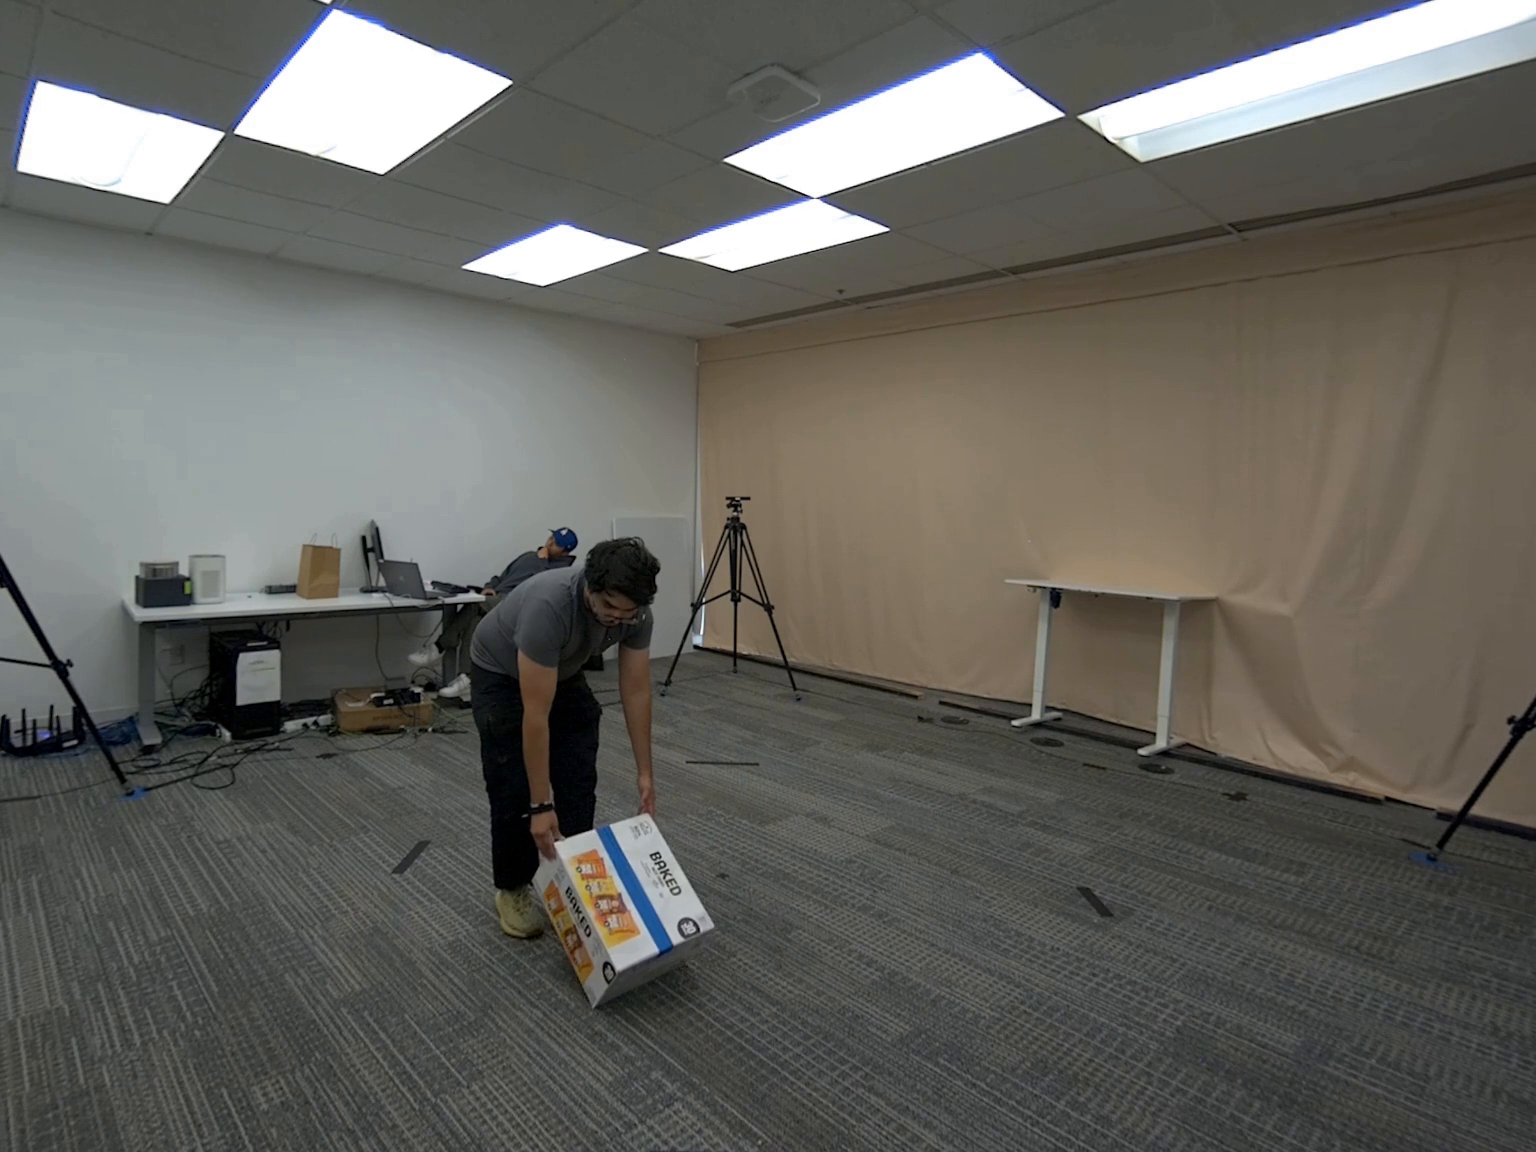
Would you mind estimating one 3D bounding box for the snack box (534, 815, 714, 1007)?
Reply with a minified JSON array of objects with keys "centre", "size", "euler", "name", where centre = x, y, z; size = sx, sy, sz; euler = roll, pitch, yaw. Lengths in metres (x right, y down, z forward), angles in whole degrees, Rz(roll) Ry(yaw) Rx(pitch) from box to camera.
[{"centre":[-0.431,0.962,2.453],"size":[0.333,0.204,0.417],"euler":[-4,44,-43],"name":"snack box"}]
